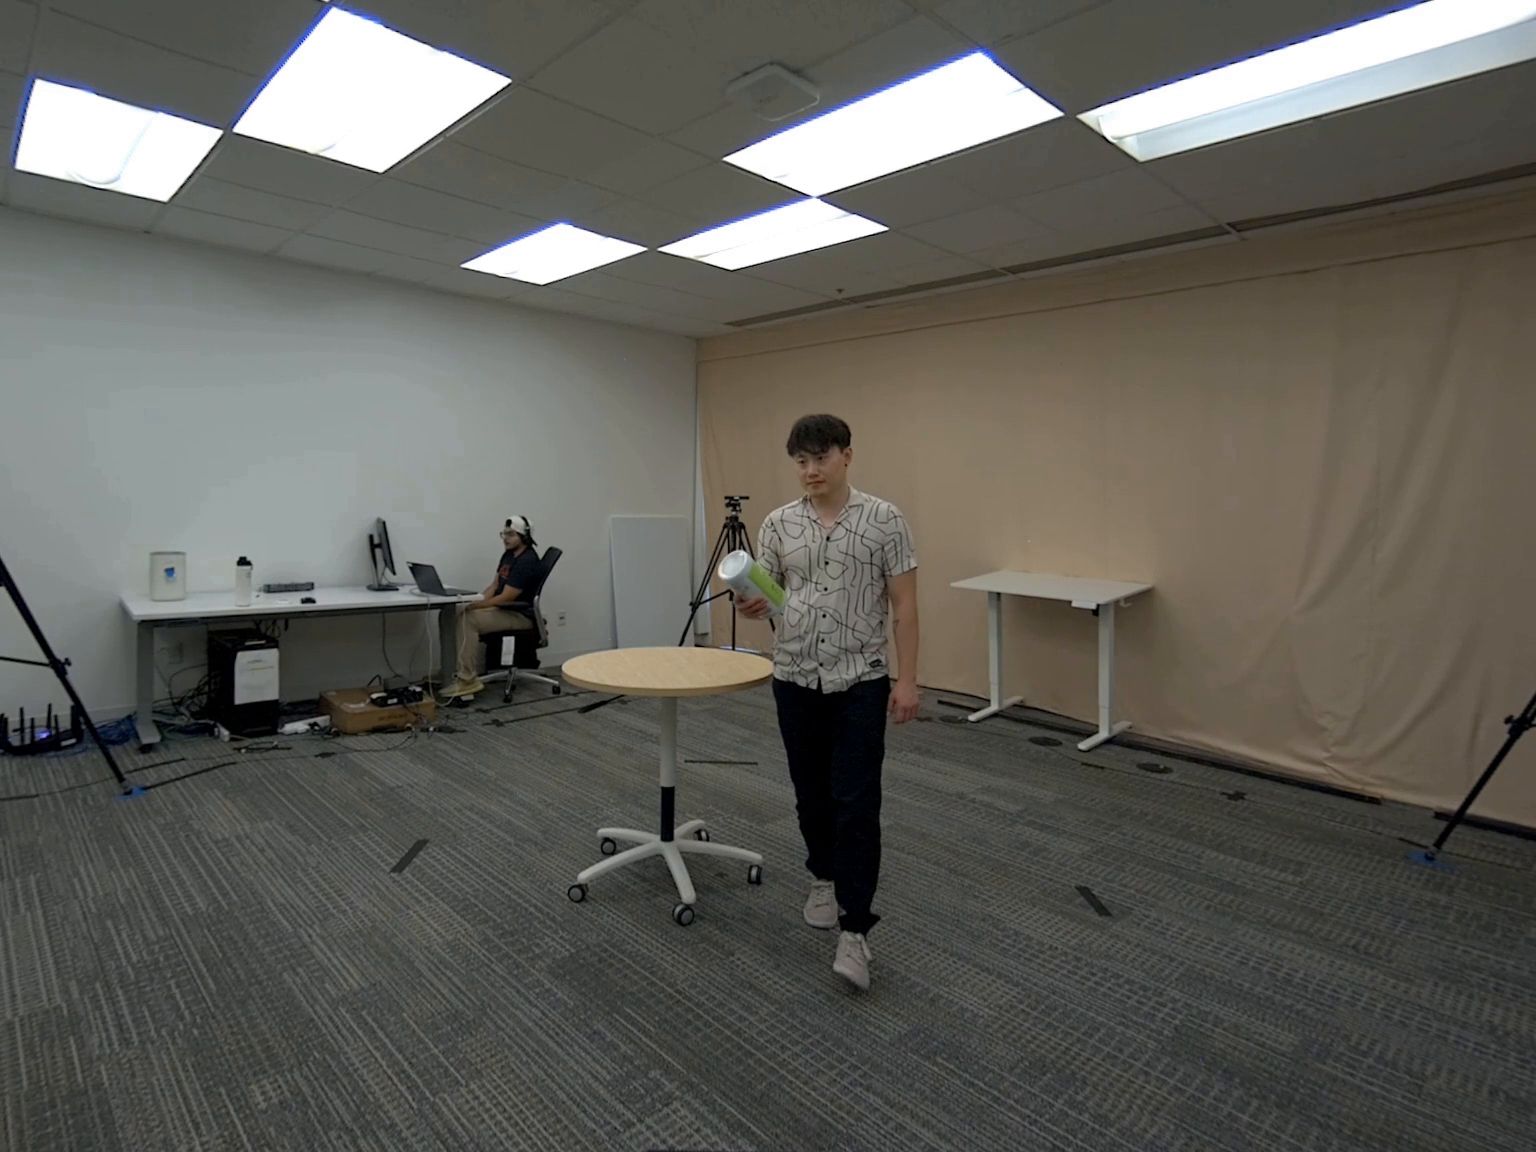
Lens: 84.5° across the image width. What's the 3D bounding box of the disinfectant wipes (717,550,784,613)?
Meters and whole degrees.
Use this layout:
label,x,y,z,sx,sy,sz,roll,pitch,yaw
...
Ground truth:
label,x,y,z,sx,sy,sz,roll,pitch,yaw
disinfectant wipes,-0.056,0.027,2.489,0.121,0.118,0.211,5,-32,42
